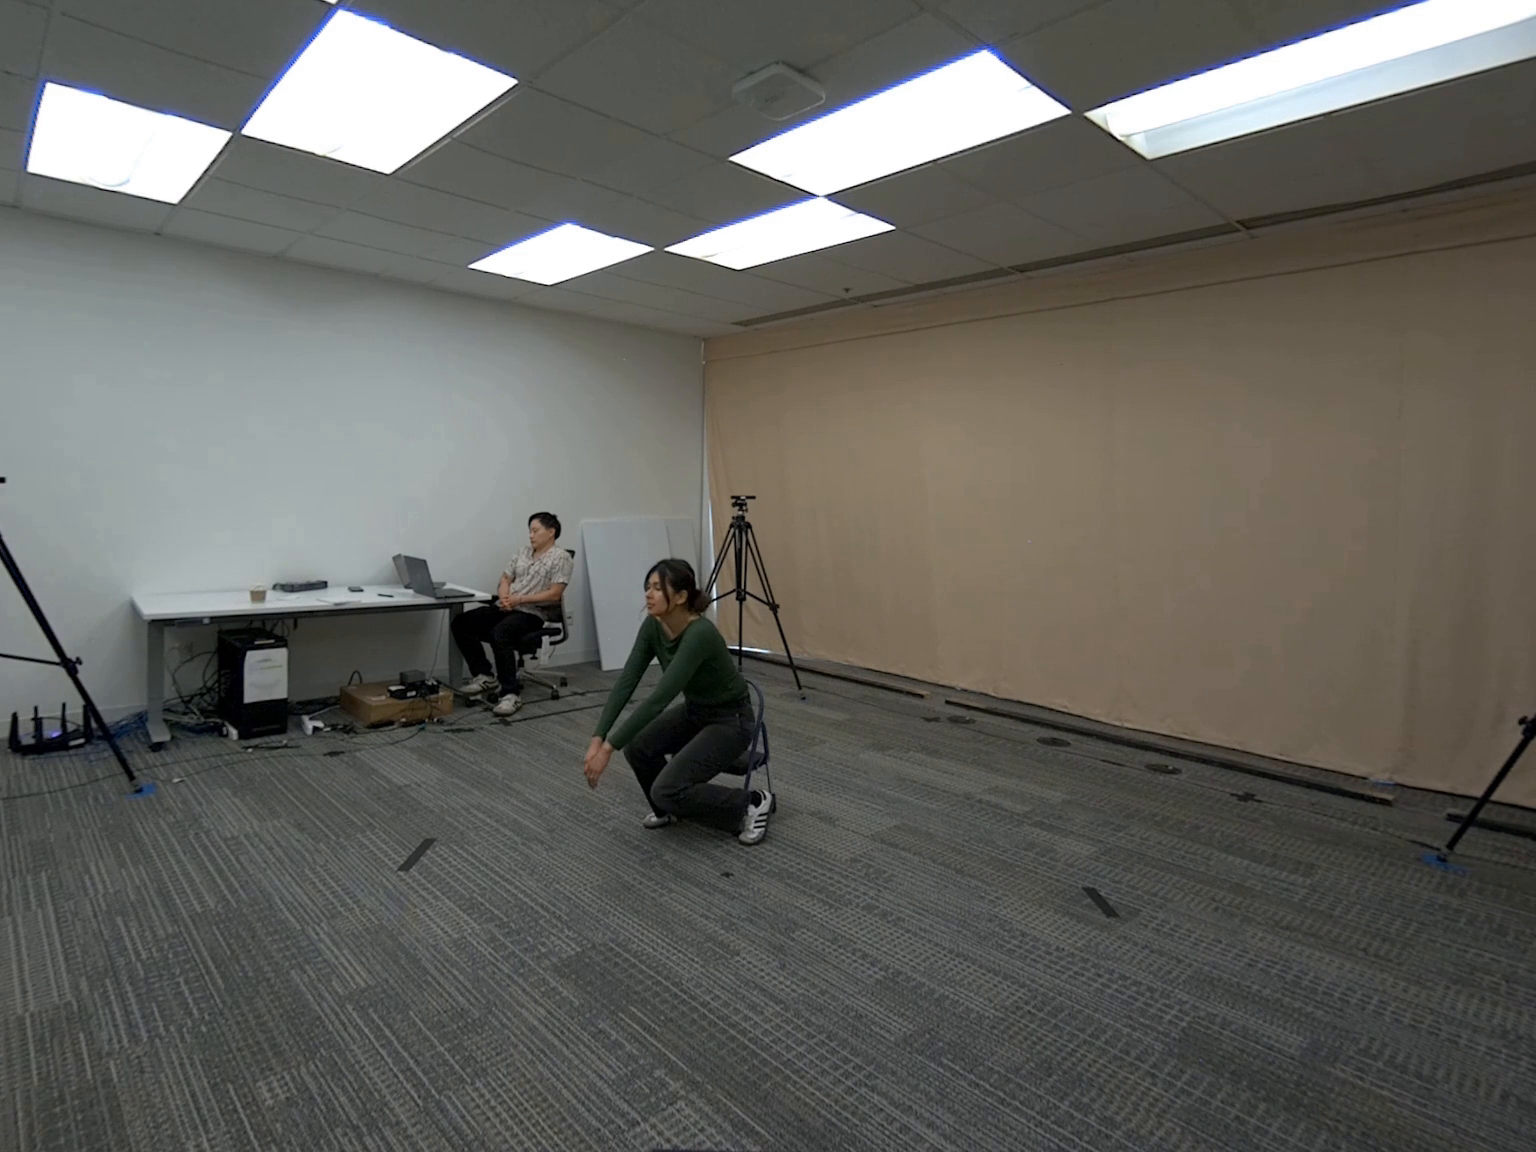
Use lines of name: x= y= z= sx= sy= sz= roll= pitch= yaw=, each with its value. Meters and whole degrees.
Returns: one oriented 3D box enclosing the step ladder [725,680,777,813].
step ladder: x=-0.220 y=0.749 z=3.698 sx=0.440 sy=0.605 sz=0.342 roll=4 pitch=4 yaw=30
